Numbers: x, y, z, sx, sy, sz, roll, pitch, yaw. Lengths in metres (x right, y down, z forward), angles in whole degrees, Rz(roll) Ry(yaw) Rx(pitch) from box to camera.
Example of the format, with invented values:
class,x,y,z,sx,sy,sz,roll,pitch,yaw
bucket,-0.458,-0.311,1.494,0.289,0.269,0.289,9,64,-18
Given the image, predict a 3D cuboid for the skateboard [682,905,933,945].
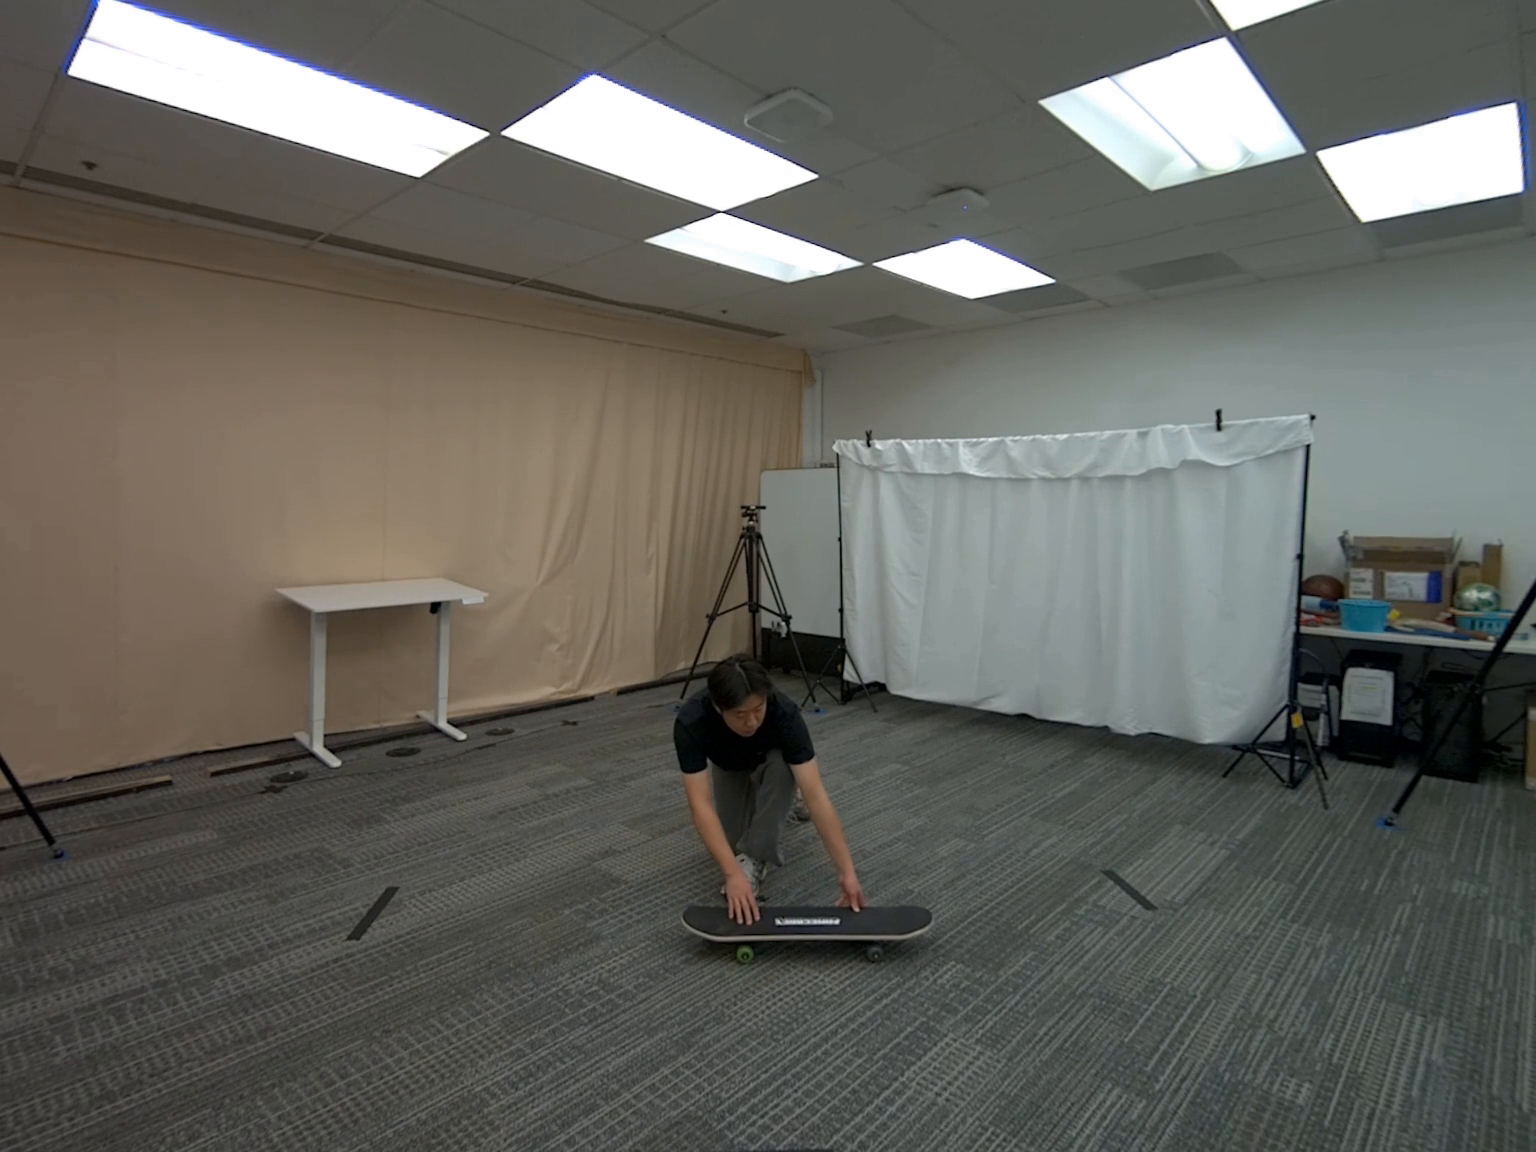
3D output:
class,x,y,z,sx,sy,sz,roll,pitch,yaw
skateboard,0.127,1.110,2.643,0.785,0.110,0.194,-1,4,0
